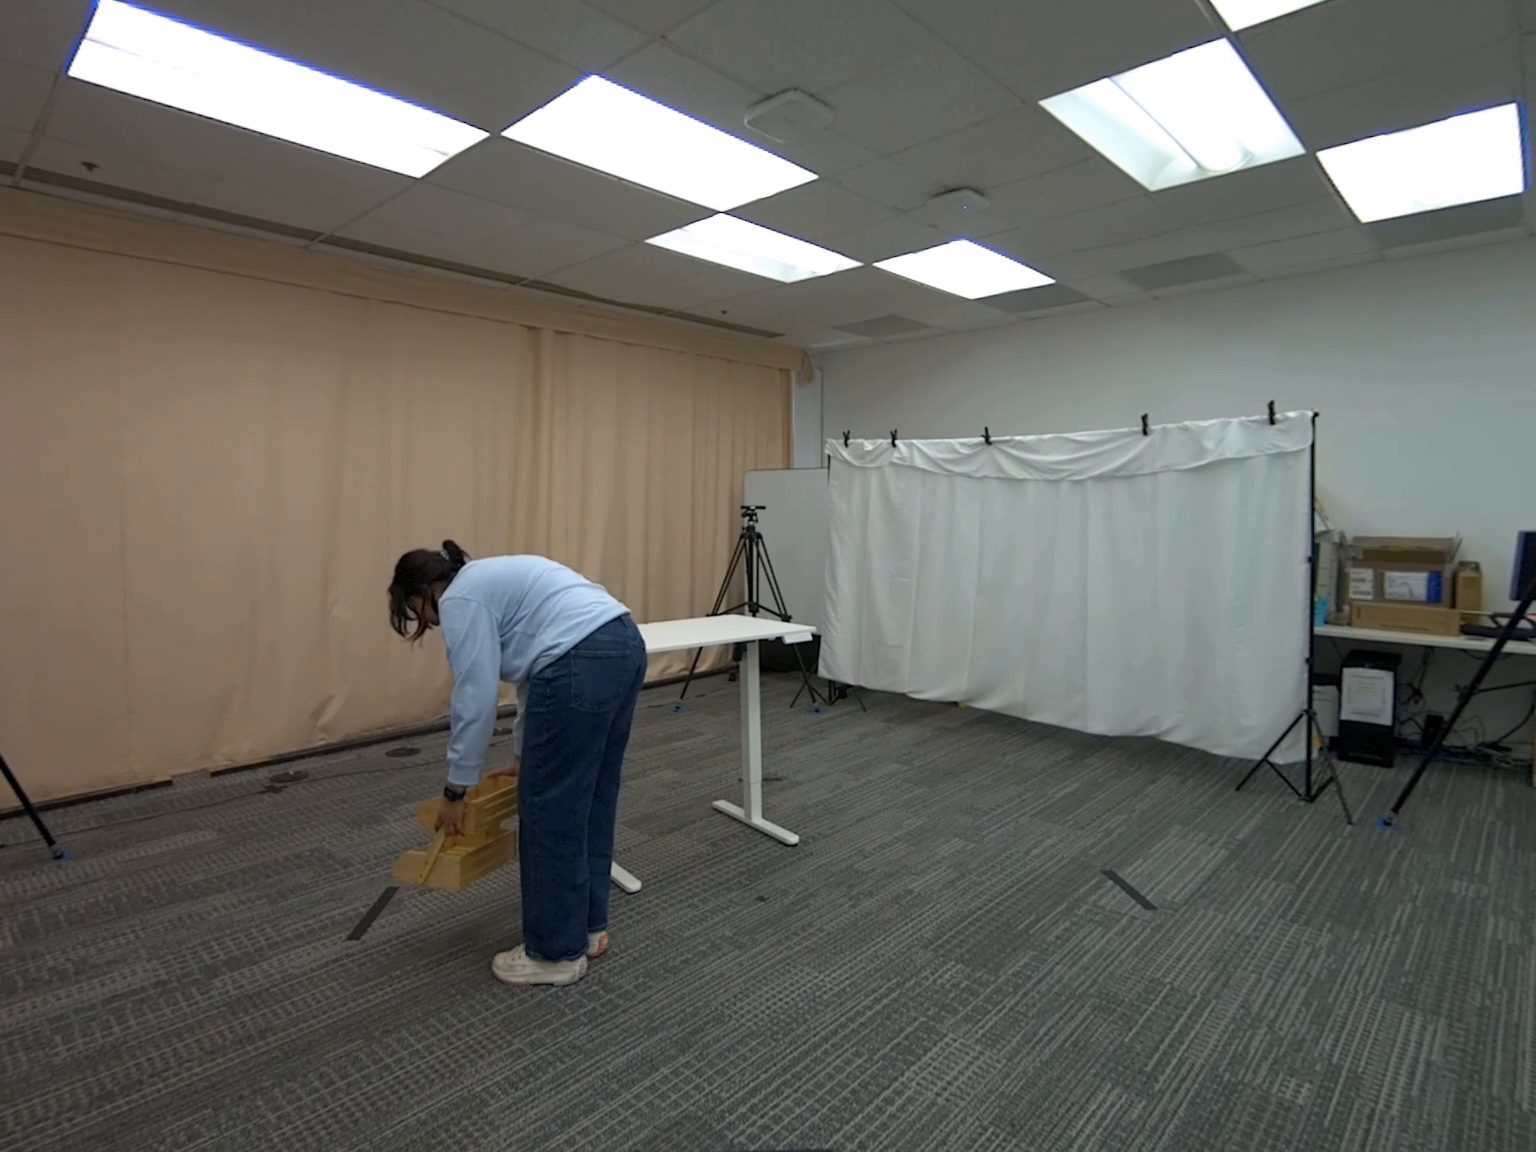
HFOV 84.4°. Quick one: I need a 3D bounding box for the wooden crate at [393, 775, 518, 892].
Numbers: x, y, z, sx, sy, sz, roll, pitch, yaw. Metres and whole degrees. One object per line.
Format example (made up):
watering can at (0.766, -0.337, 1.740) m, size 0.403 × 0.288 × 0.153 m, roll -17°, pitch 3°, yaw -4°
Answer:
wooden crate at (-0.962, 0.787, 2.641) m, size 0.308 × 0.273 × 0.318 m, roll -1°, pitch -1°, yaw 17°
